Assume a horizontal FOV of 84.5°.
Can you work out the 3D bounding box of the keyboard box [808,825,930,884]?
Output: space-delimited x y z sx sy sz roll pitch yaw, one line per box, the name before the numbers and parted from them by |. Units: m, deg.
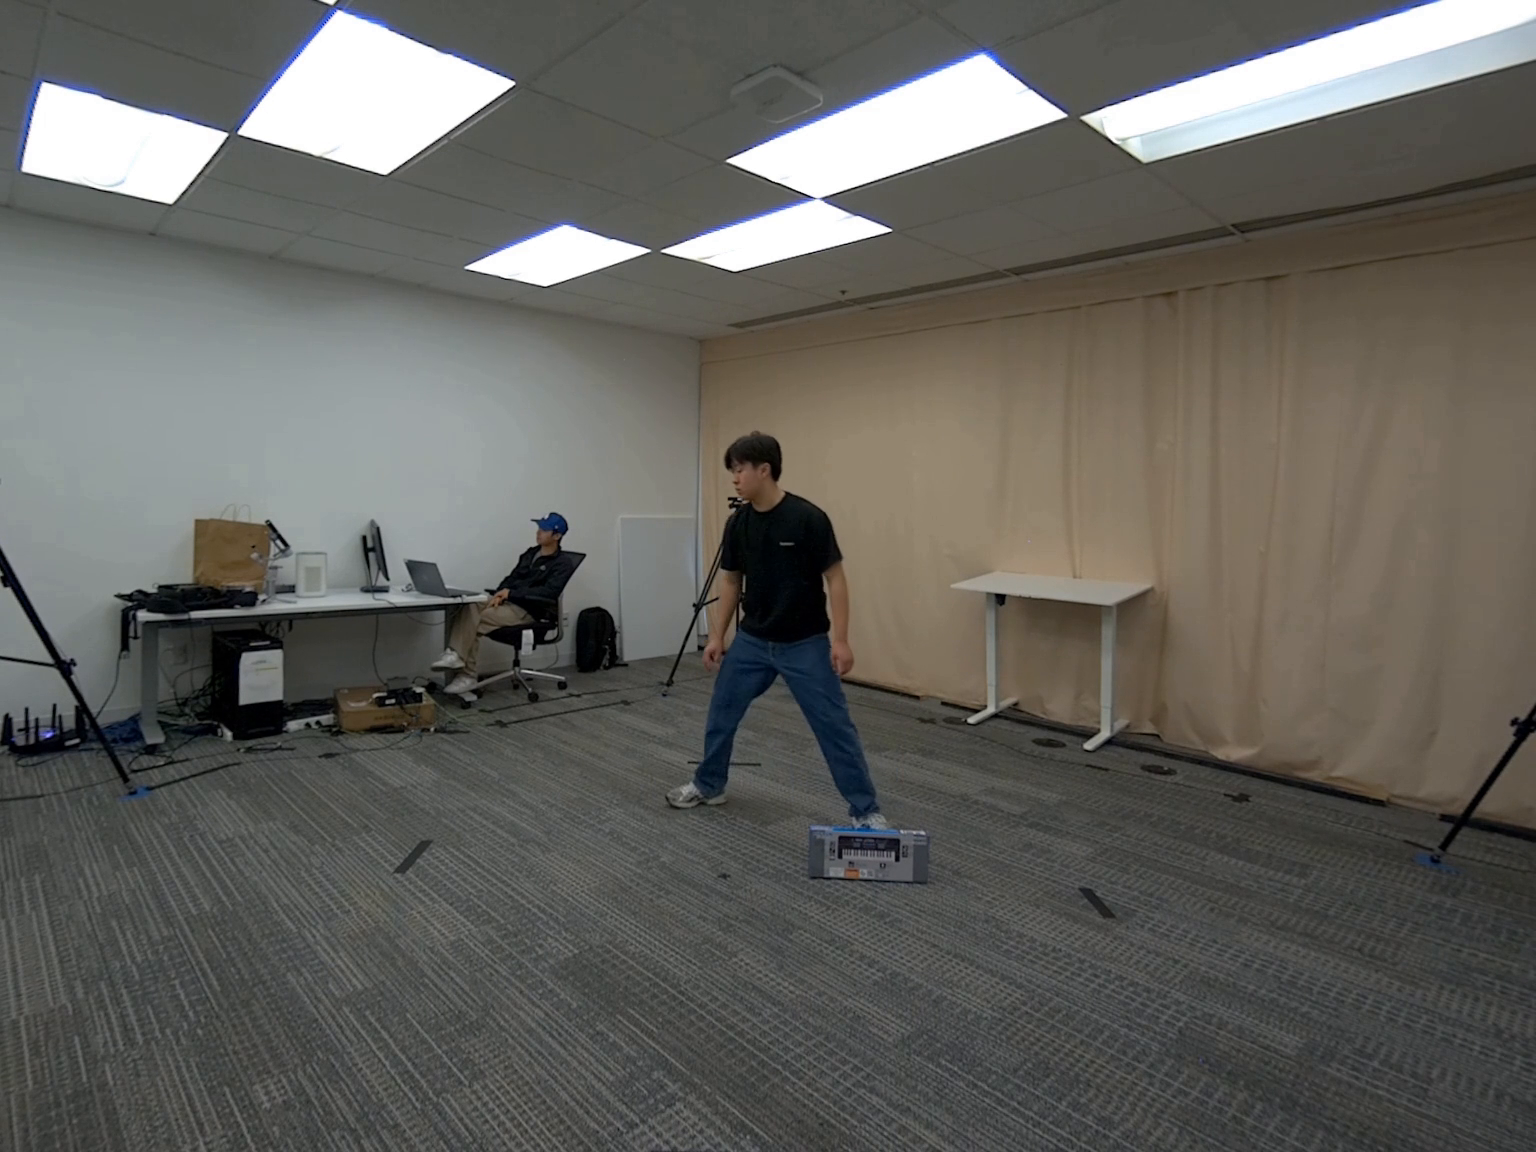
keyboard box | 0.366 1.031 3.115 0.438 0.176 0.059 2 -1 2
